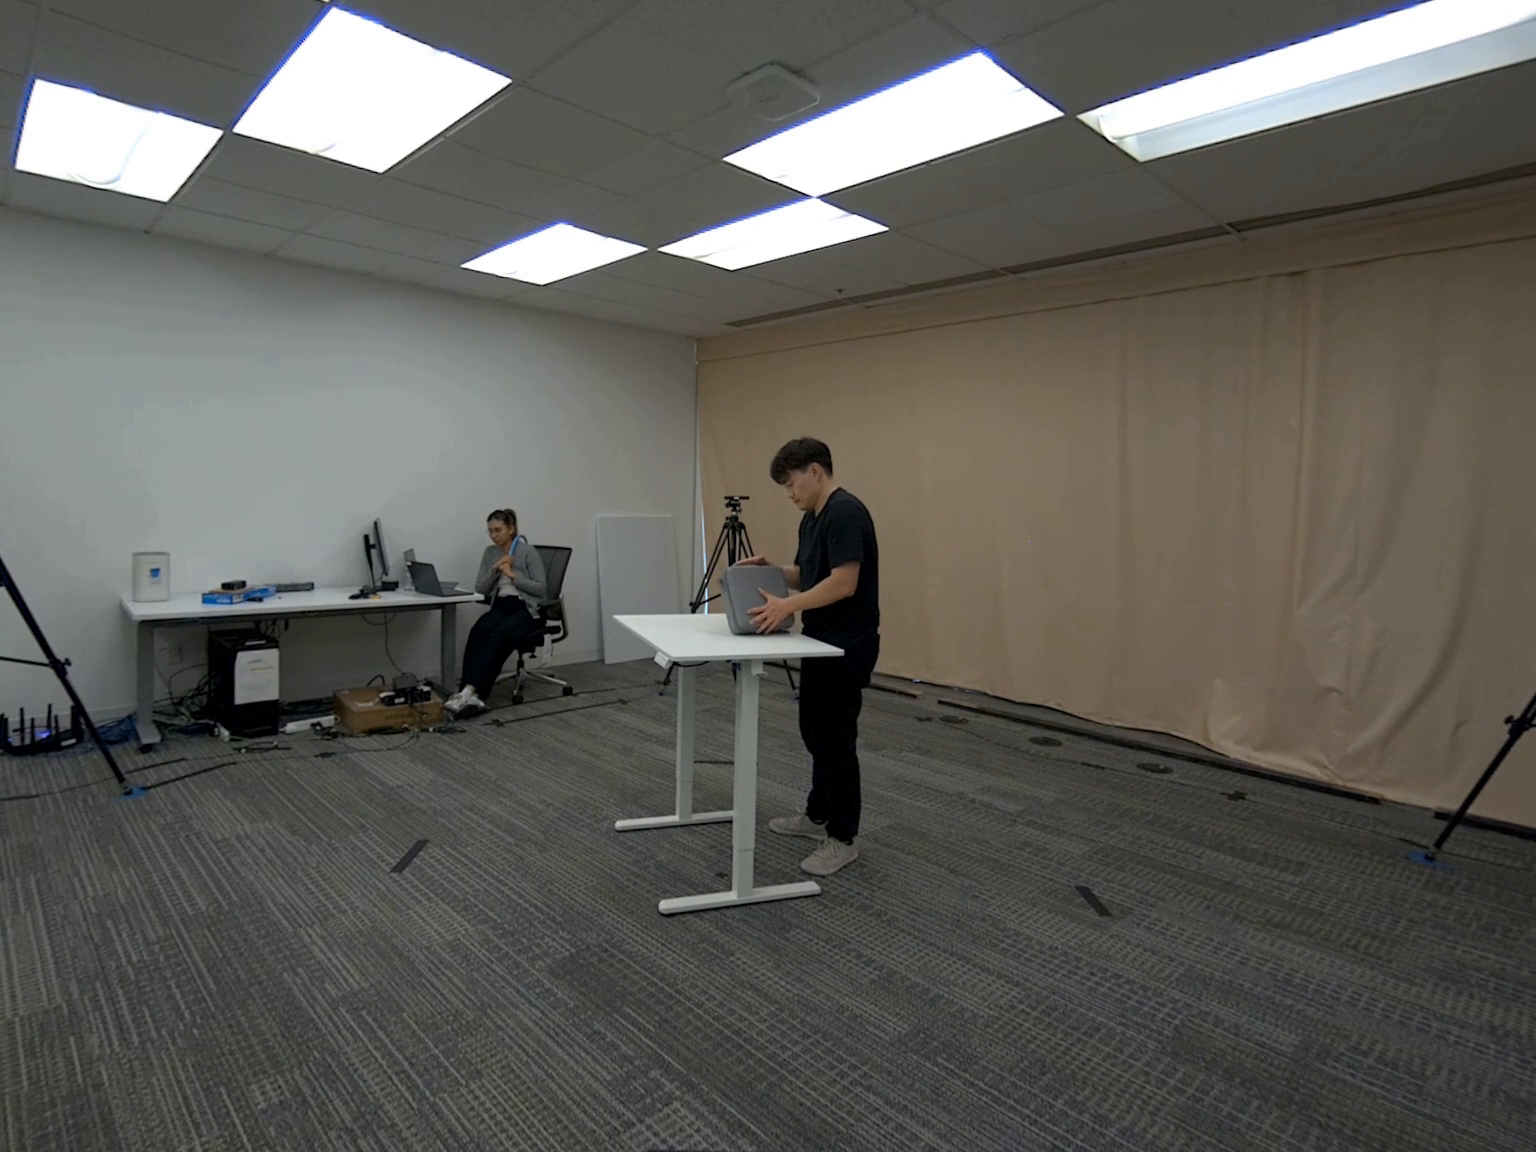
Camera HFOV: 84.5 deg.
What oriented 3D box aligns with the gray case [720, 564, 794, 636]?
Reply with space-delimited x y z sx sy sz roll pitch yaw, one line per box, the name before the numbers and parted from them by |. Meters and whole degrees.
gray case | -0.053 0.088 3.202 0.252 0.265 0.105 0 -22 -30
